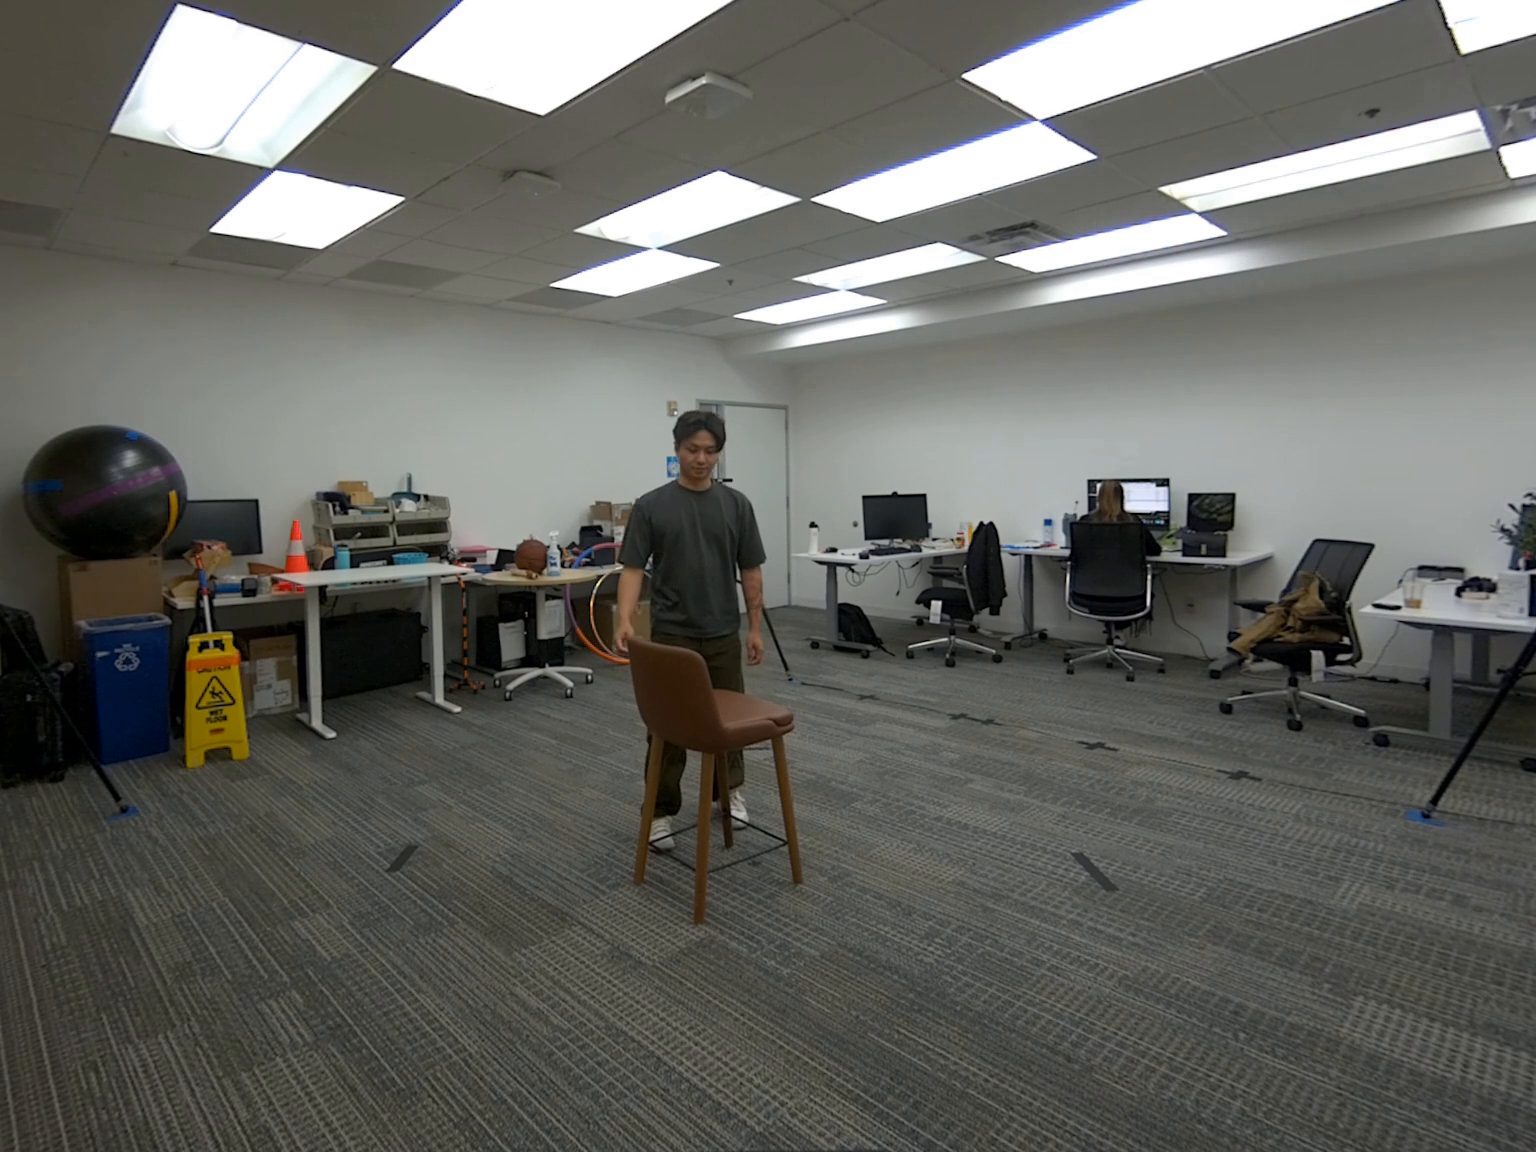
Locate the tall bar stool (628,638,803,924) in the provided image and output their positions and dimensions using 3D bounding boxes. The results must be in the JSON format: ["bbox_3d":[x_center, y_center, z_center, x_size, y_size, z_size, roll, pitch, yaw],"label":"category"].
[{"bbox_3d":[-0.188,0.635,2.936,0.456,0.886,0.470,-7,7,-40],"label":"tall bar stool"}]
